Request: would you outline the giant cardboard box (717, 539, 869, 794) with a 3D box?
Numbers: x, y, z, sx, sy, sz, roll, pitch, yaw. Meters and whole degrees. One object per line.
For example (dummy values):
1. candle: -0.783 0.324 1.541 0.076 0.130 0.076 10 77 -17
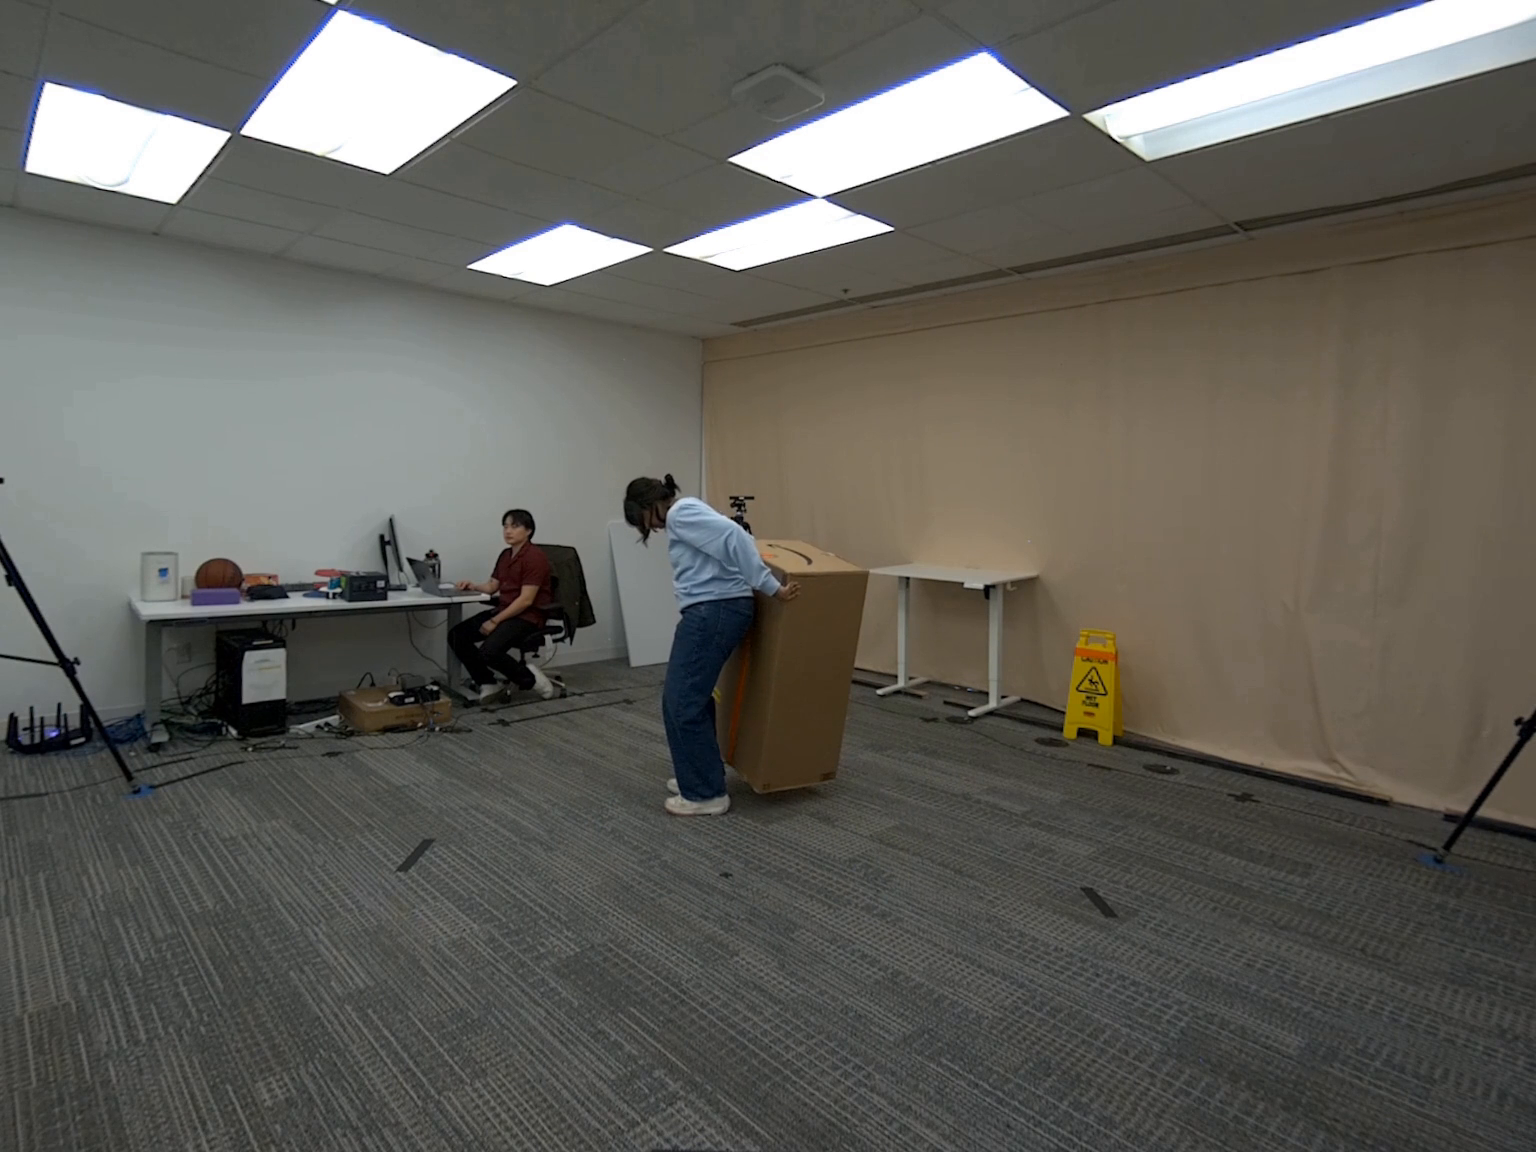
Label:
1. giant cardboard box: 0.055 0.395 3.952 0.417 1.017 0.594 0 15 -30
